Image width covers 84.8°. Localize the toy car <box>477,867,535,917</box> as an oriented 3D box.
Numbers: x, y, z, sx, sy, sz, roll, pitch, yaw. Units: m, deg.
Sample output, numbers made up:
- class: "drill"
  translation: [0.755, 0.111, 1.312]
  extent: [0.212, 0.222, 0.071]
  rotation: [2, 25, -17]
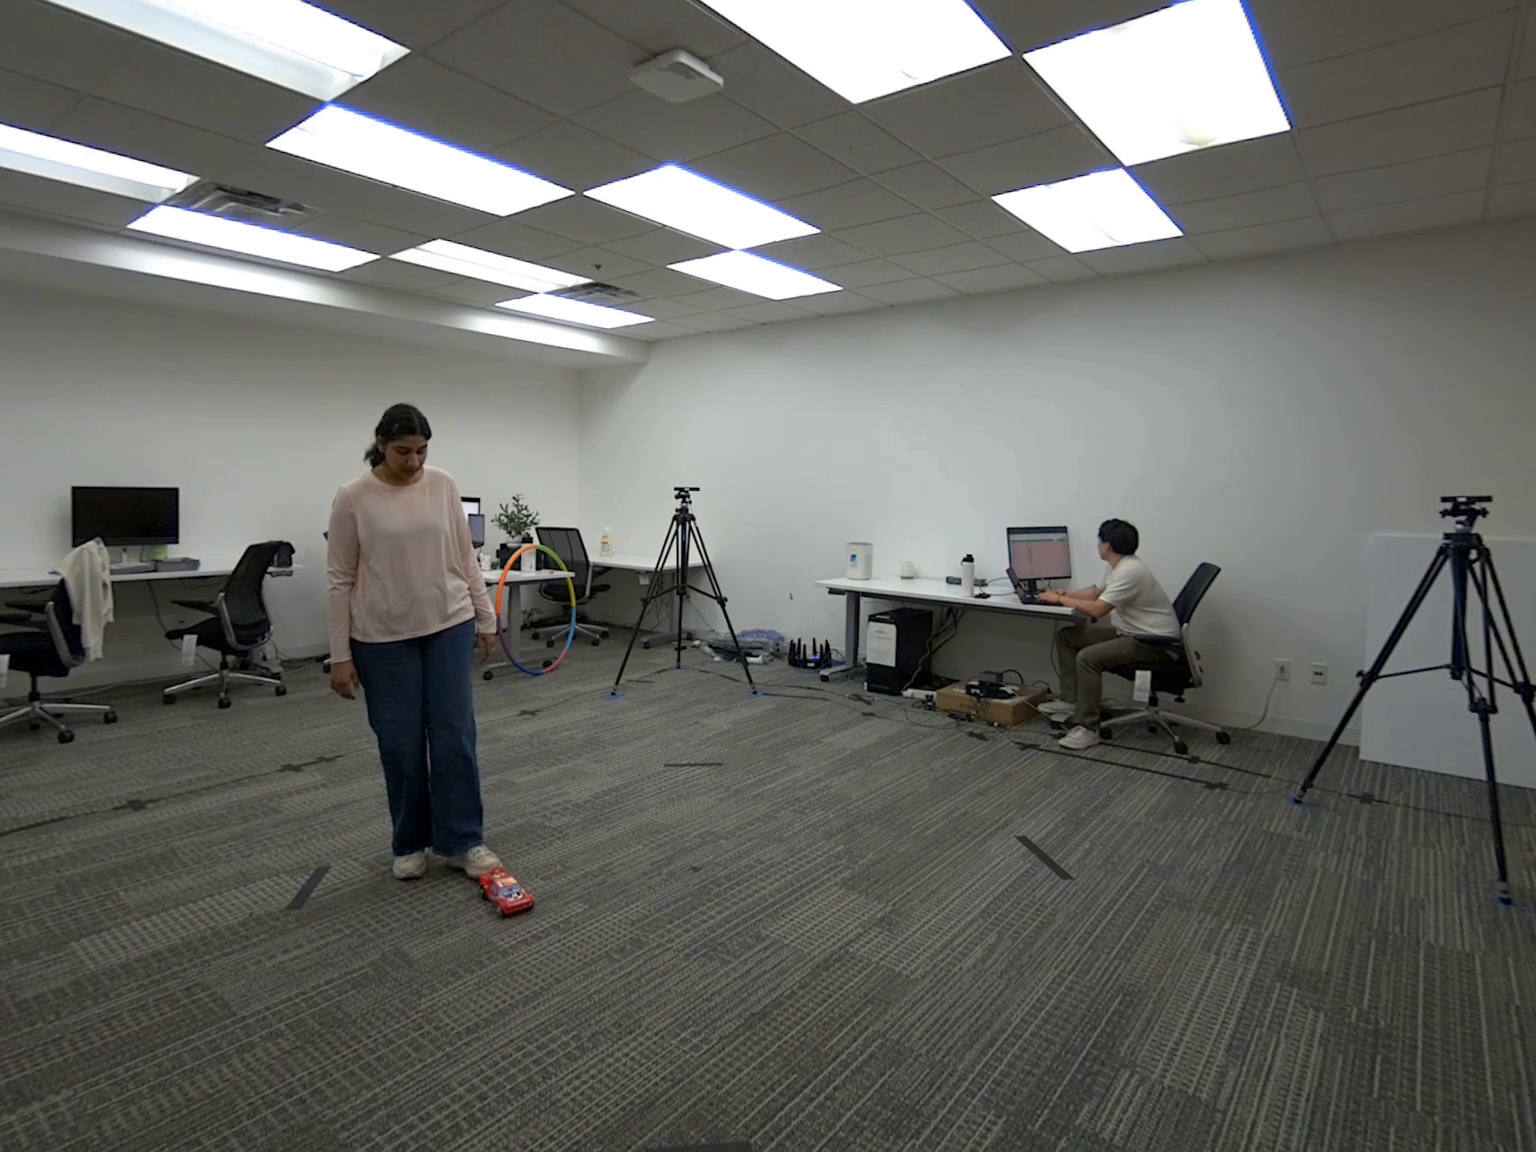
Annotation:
- class: "toy car"
  translation: [-0.890, 1.052, 2.836]
  extent: [0.126, 0.082, 0.265]
  rotation: [-4, 18, -37]
